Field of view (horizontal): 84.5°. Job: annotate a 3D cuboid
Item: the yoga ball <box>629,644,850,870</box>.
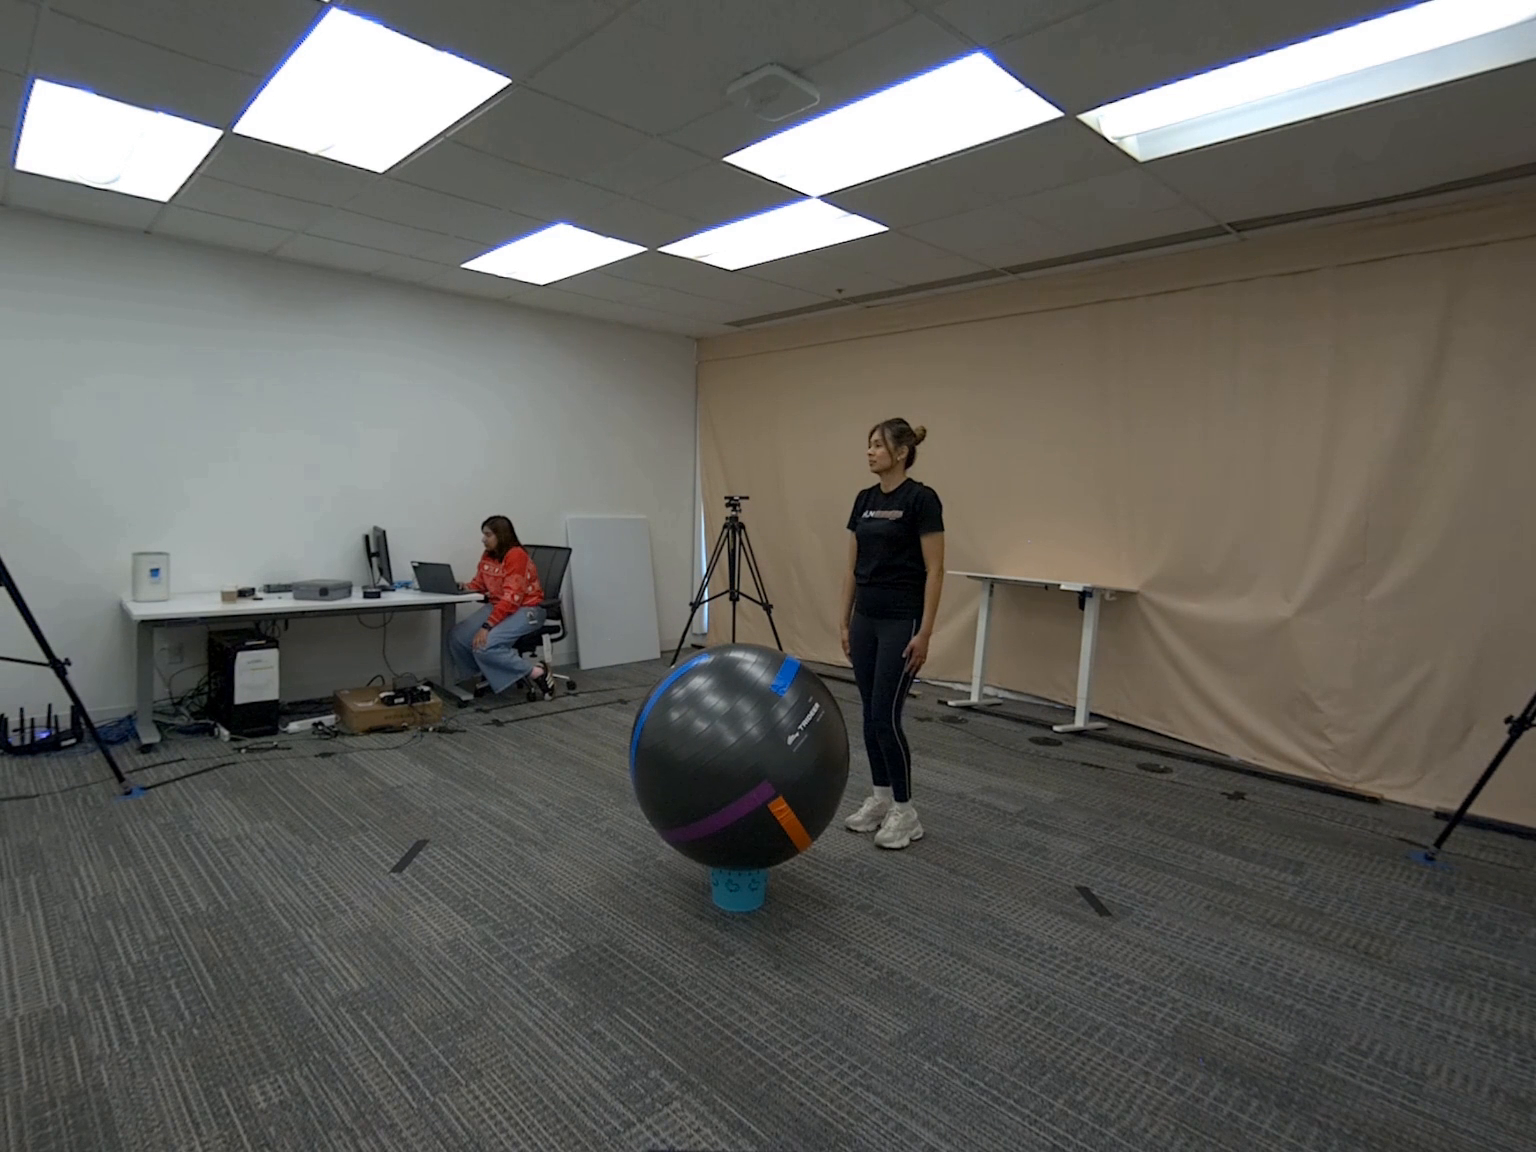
[{"bbox_3d":[-0.104,0.613,2.888,0.757,0.756,0.761,1,4,-1],"label":"yoga ball"}]
